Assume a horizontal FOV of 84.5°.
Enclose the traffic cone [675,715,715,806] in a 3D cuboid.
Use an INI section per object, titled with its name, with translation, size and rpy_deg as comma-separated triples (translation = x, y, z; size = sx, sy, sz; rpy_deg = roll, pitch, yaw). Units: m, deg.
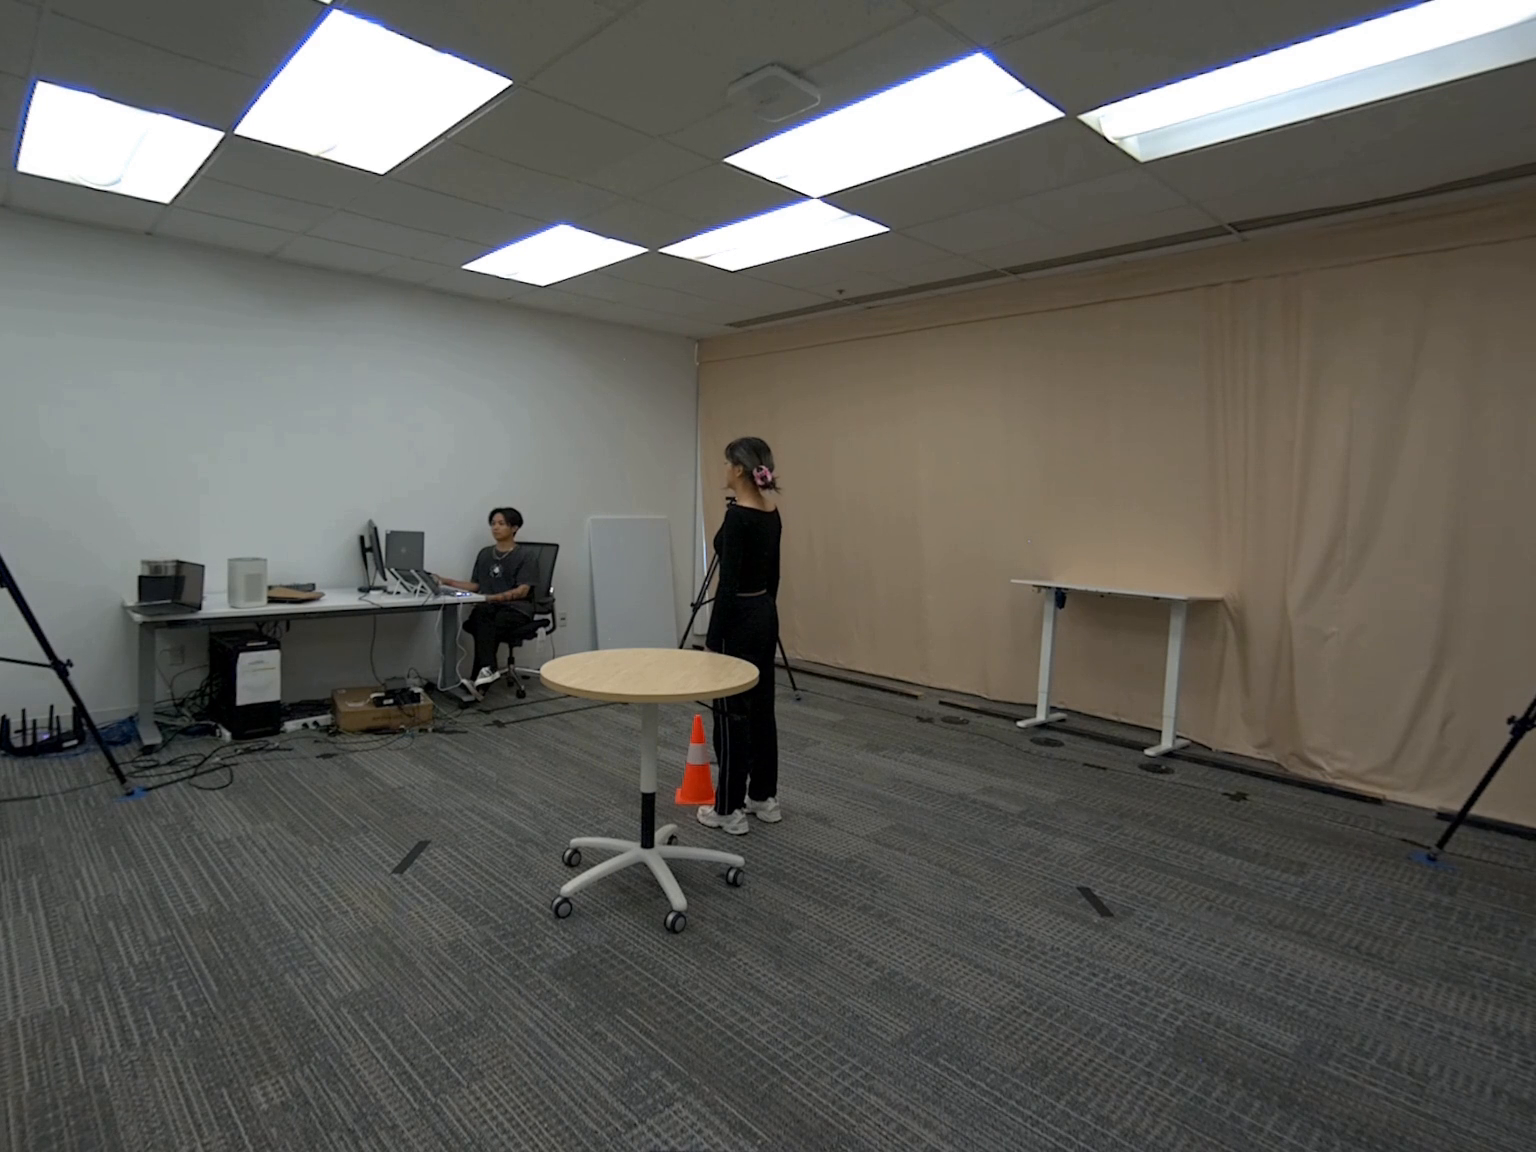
[traffic cone]
translation = -0.346, 0.846, 3.925
size = 0.204, 0.382, 0.205
rpy_deg = 1, 5, 1
